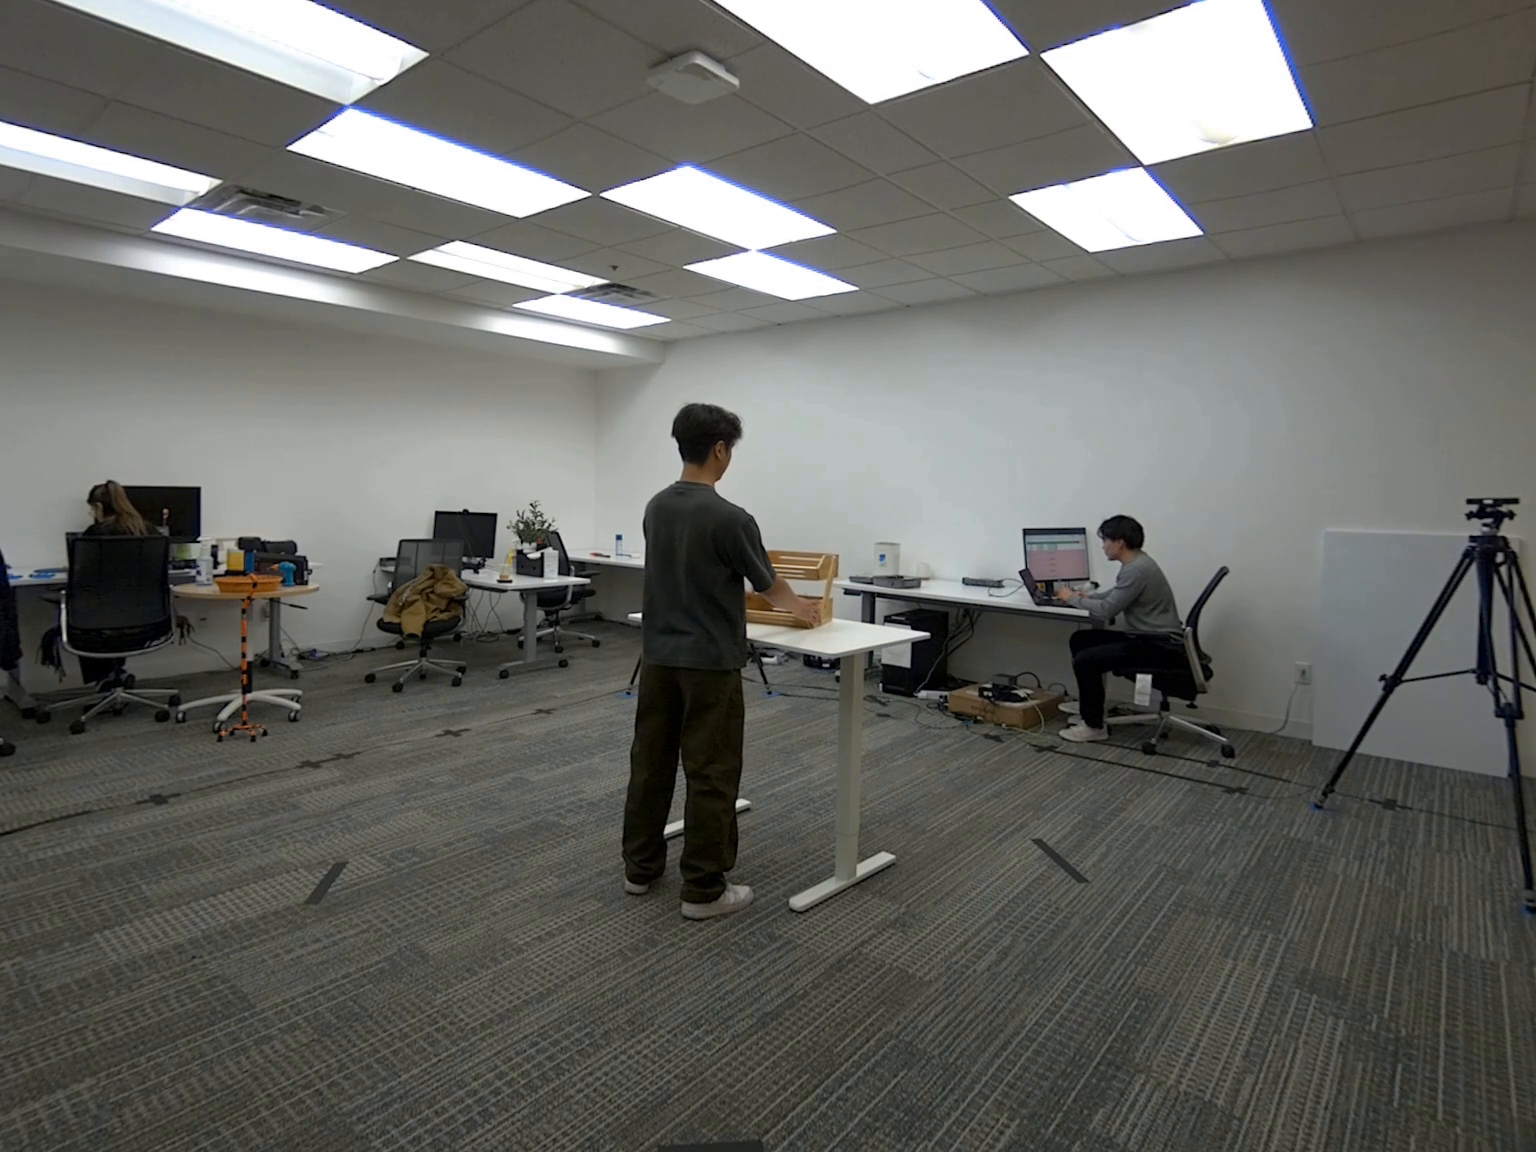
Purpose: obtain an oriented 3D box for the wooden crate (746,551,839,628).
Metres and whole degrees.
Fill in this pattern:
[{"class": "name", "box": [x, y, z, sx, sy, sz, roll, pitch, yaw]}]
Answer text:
[{"class": "wooden crate", "box": [0.067, 0.037, 3.300, 0.333, 0.272, 0.295, 4, 5, 26]}]
